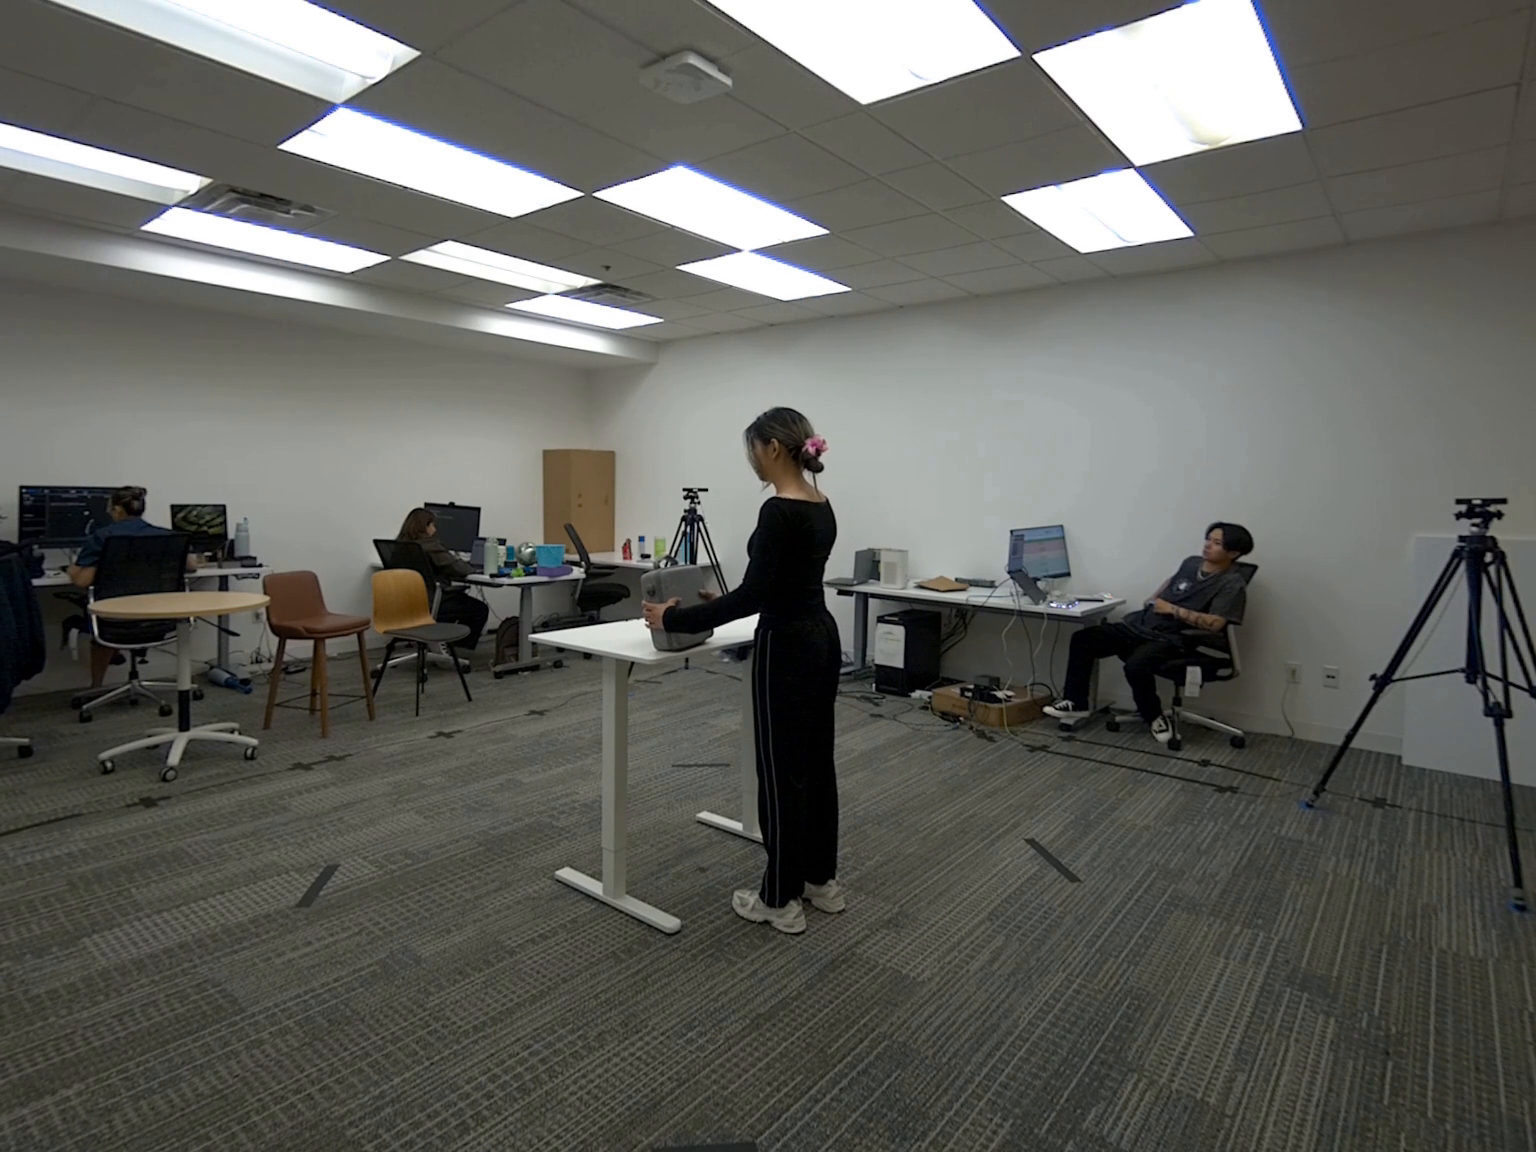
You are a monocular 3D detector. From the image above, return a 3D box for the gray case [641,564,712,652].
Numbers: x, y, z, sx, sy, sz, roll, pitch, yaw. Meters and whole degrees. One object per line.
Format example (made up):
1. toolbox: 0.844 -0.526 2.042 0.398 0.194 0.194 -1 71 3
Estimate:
1. gray case: -0.295 0.094 2.732 0.106 0.261 0.251 -12 -2 26
